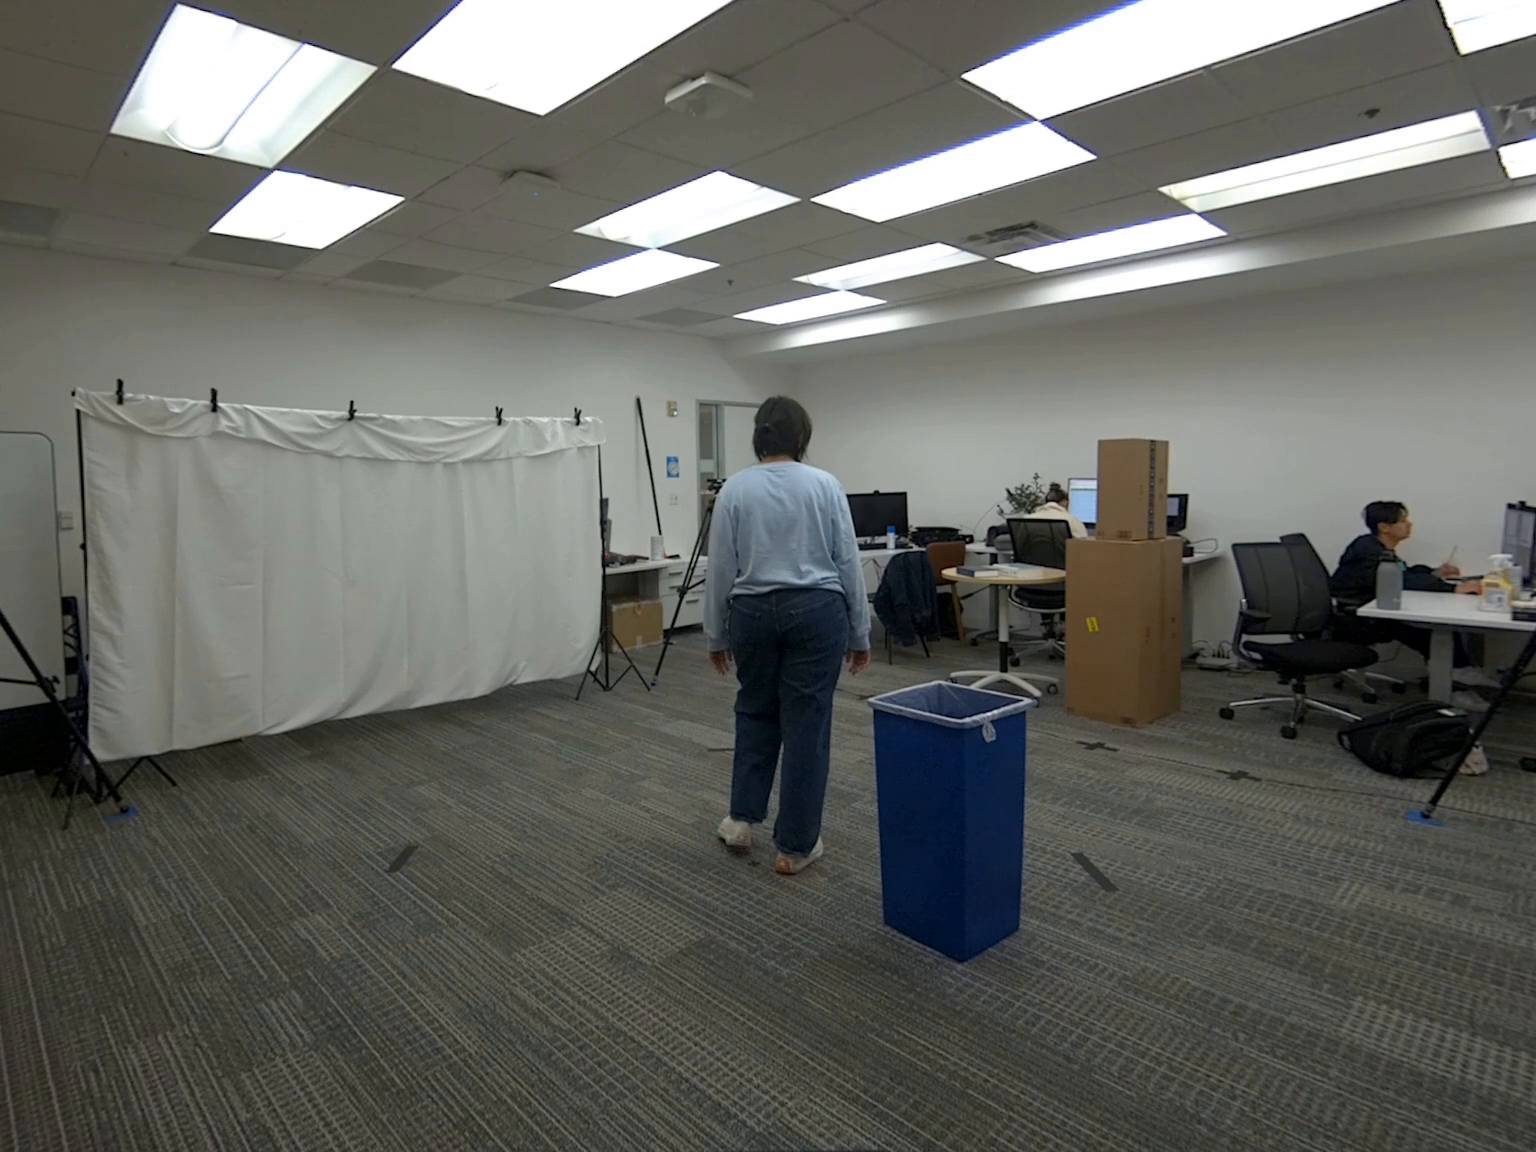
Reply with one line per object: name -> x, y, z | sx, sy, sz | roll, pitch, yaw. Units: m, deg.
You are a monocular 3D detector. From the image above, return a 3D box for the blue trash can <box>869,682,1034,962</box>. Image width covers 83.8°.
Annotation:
blue trash can -> 0.569, 0.733, 2.639 | 0.364, 0.711, 0.389 | -5, 5, -41
